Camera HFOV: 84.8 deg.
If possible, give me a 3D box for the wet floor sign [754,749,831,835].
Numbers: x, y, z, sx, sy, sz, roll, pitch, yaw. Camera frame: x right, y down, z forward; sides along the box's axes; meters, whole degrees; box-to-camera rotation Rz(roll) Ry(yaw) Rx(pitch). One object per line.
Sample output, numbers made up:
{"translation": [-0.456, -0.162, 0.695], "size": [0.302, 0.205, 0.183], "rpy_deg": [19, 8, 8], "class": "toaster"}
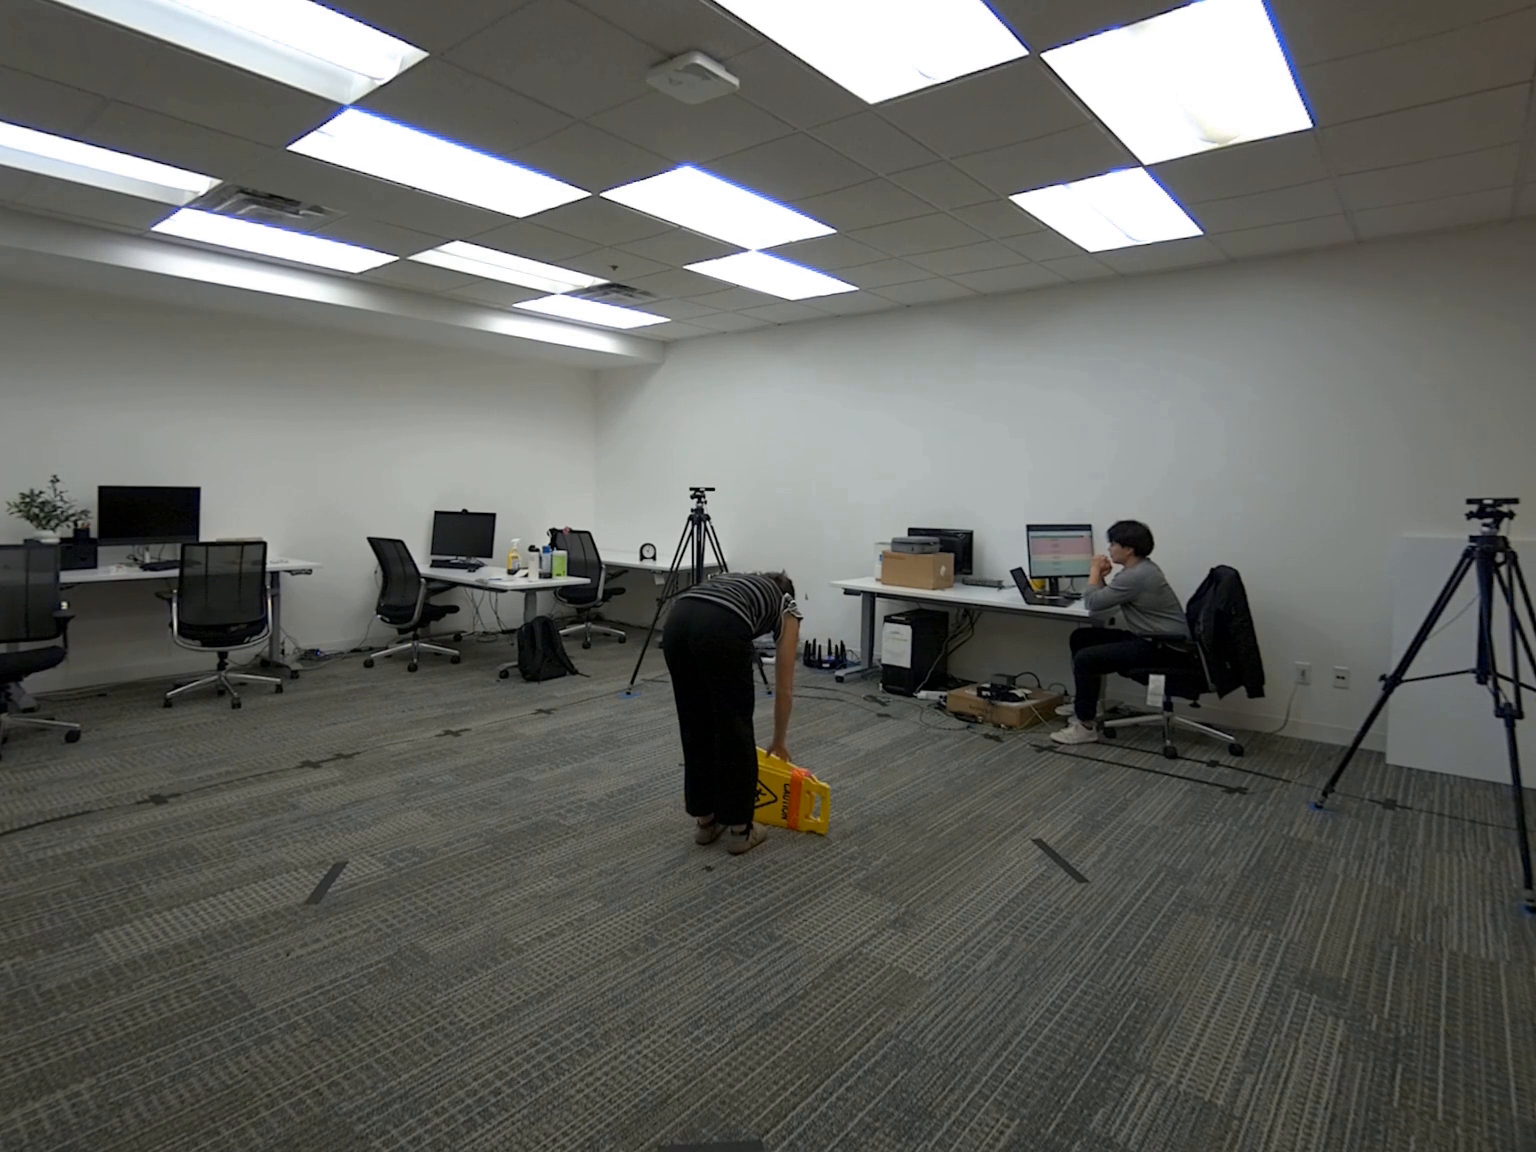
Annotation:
{"translation": [-0.031, 0.893, 3.621], "size": [0.668, 0.281, 0.281], "rpy_deg": [9, 6, 36], "class": "wet floor sign"}
